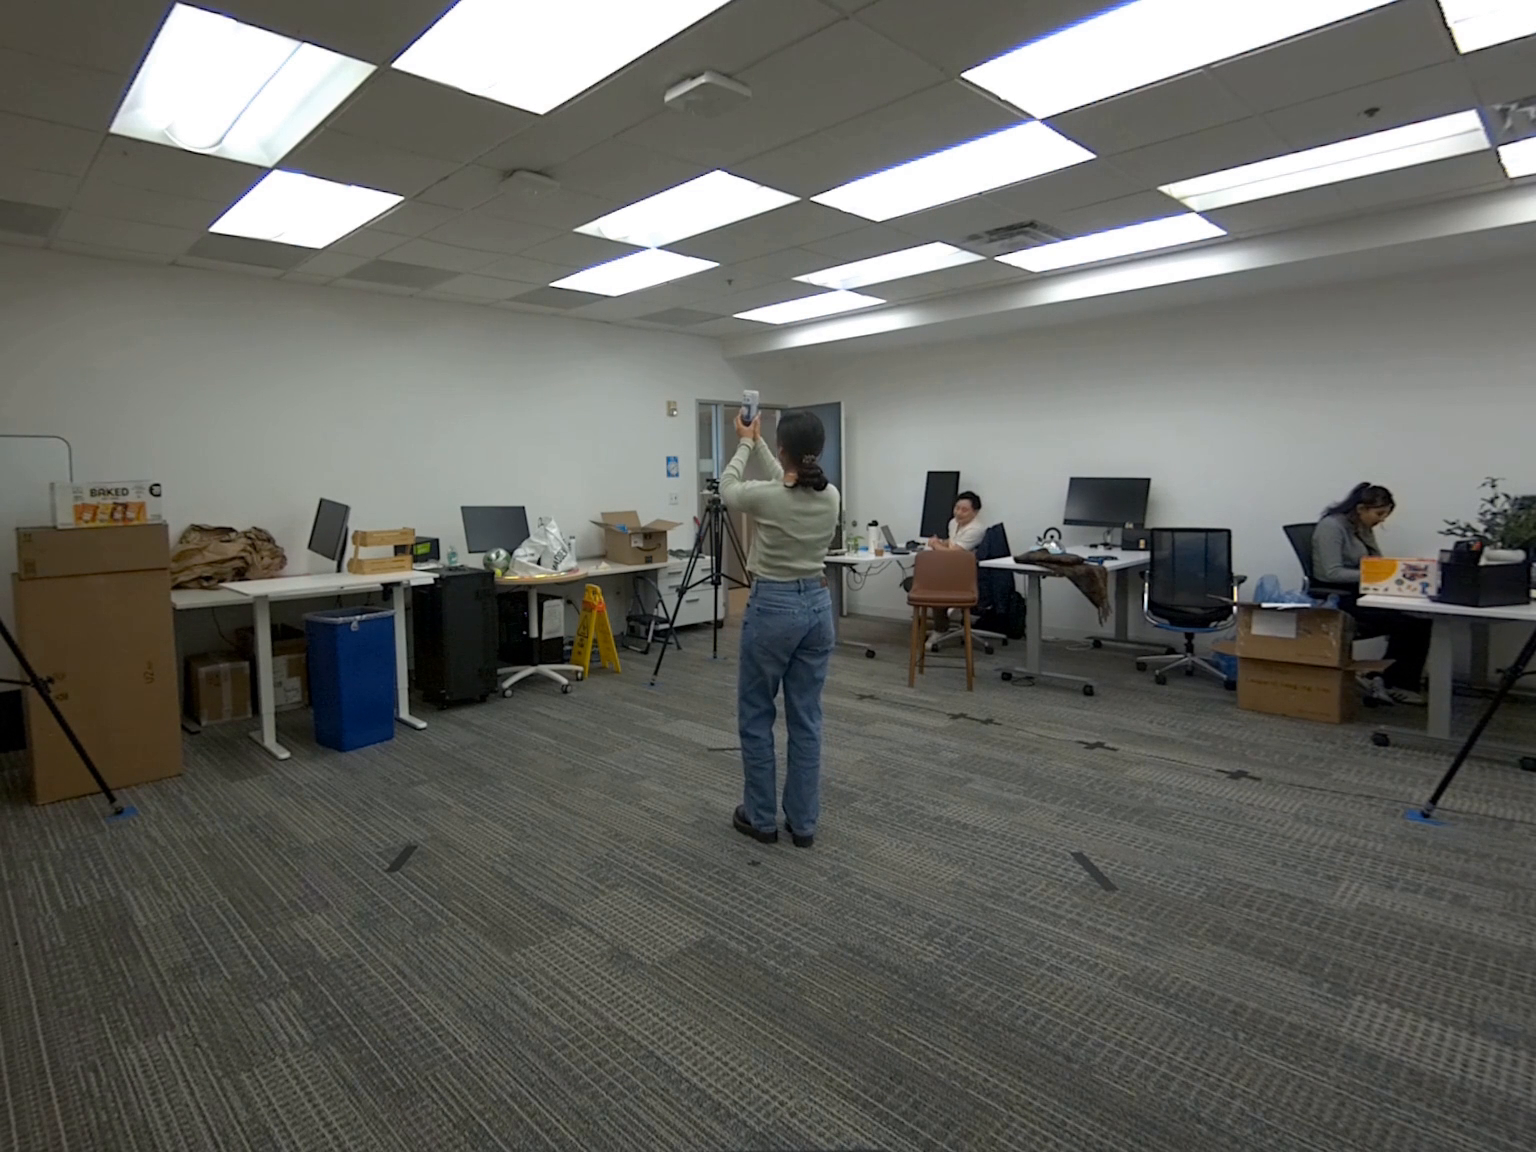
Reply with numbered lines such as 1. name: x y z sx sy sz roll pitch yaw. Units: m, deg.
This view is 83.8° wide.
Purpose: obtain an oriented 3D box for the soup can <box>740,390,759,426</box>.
1. soup can: -0.078 -0.703 3.532 0.067 0.120 0.068 5 10 -3
